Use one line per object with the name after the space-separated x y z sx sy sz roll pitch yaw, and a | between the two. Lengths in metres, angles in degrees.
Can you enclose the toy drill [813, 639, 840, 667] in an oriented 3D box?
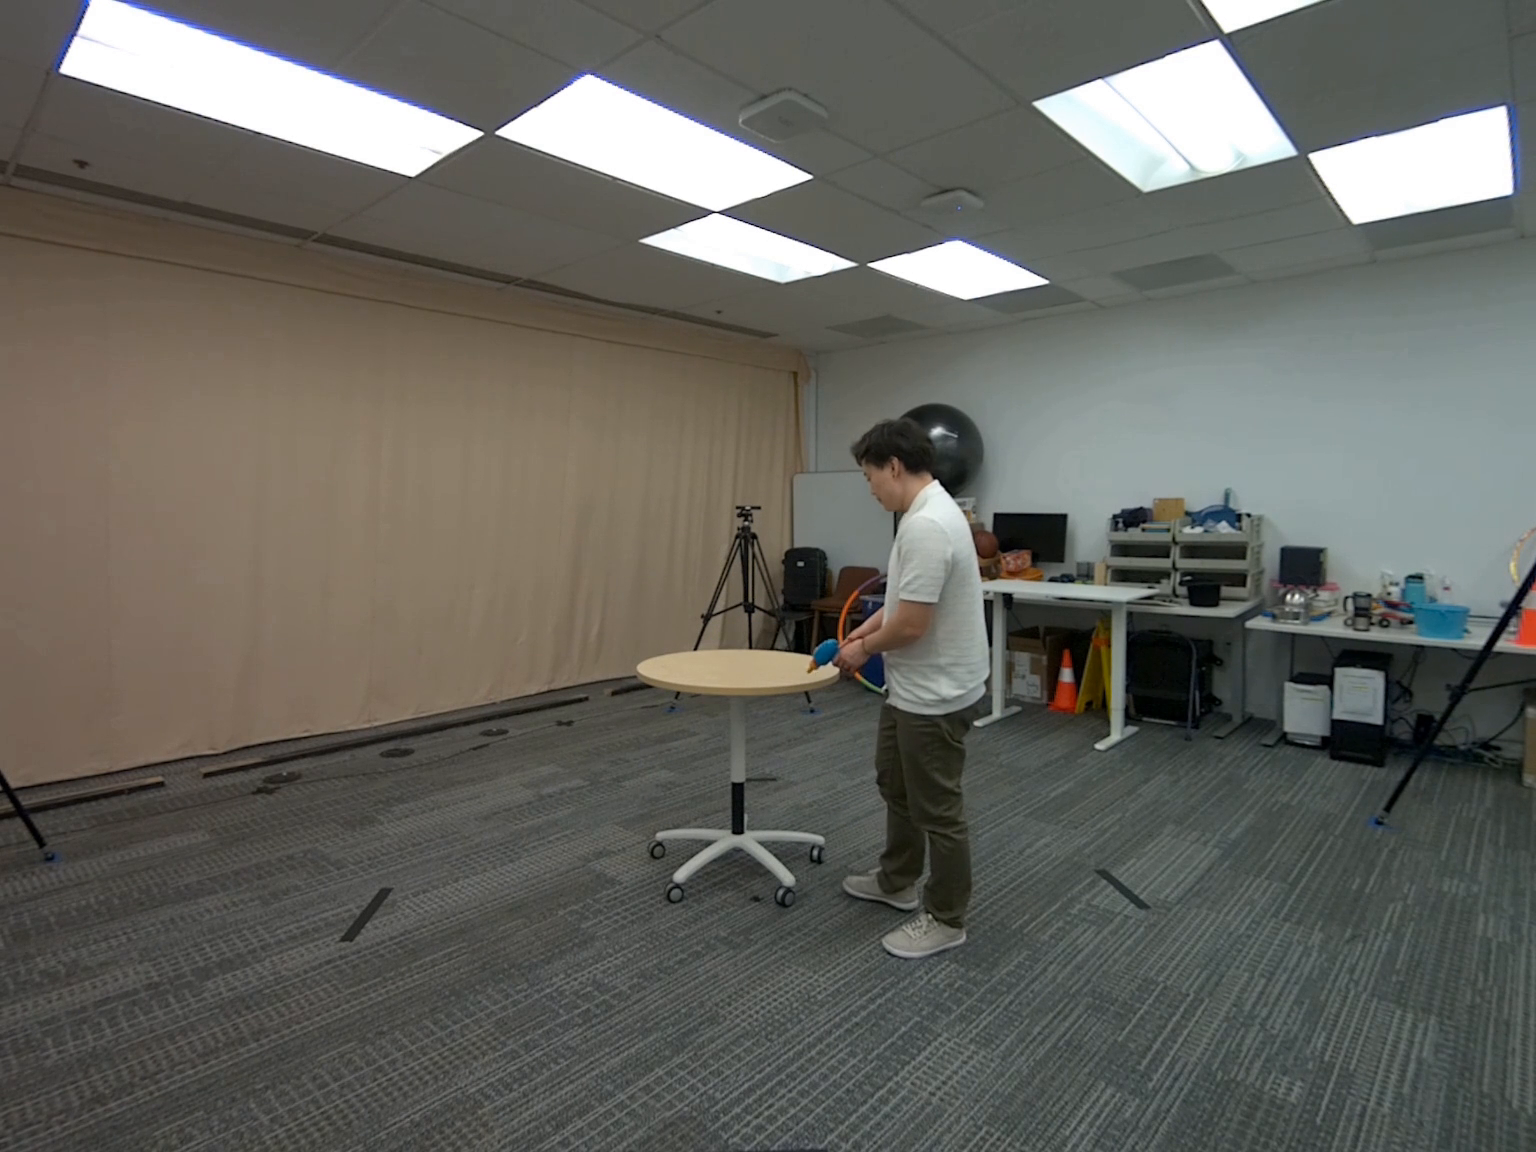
0.215 0.284 2.693 0.147 0.170 0.061 32 22 6 | toy drill
